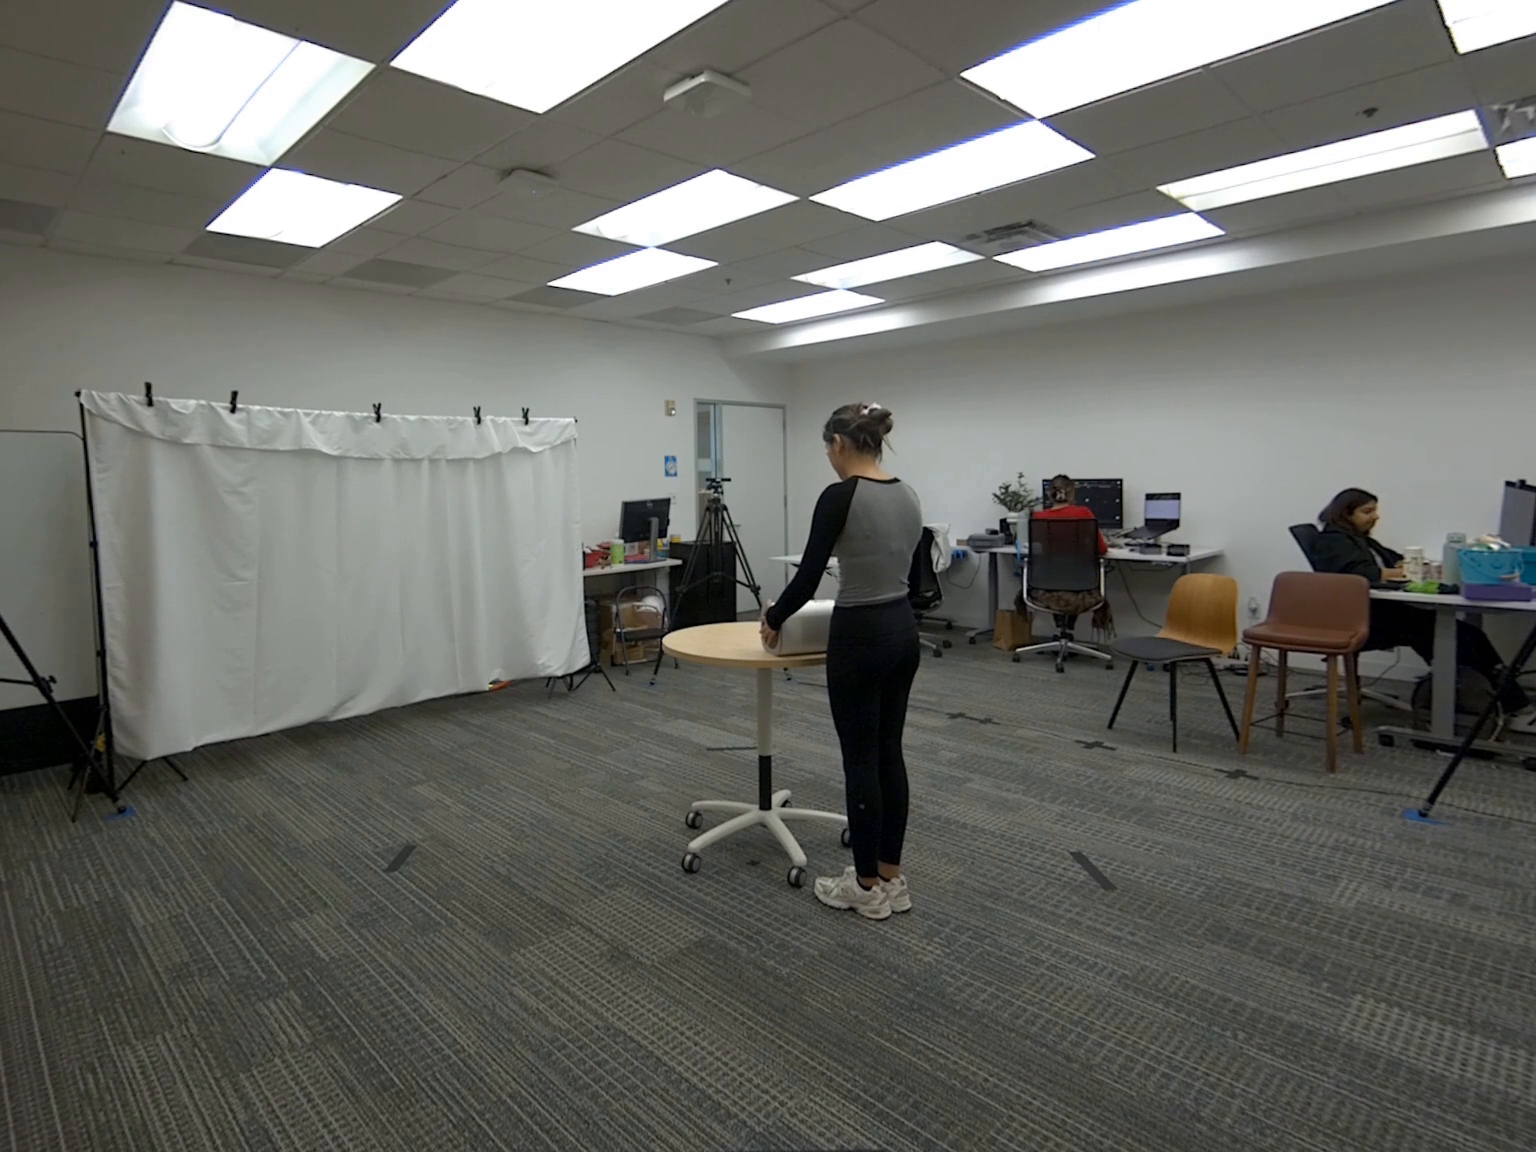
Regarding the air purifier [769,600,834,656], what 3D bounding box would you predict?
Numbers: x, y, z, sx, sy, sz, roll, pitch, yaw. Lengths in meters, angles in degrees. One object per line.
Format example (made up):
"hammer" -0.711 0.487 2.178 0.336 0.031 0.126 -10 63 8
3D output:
"air purifier" 0.135 0.175 2.977 0.261 0.170 0.175 -3 7 -17
